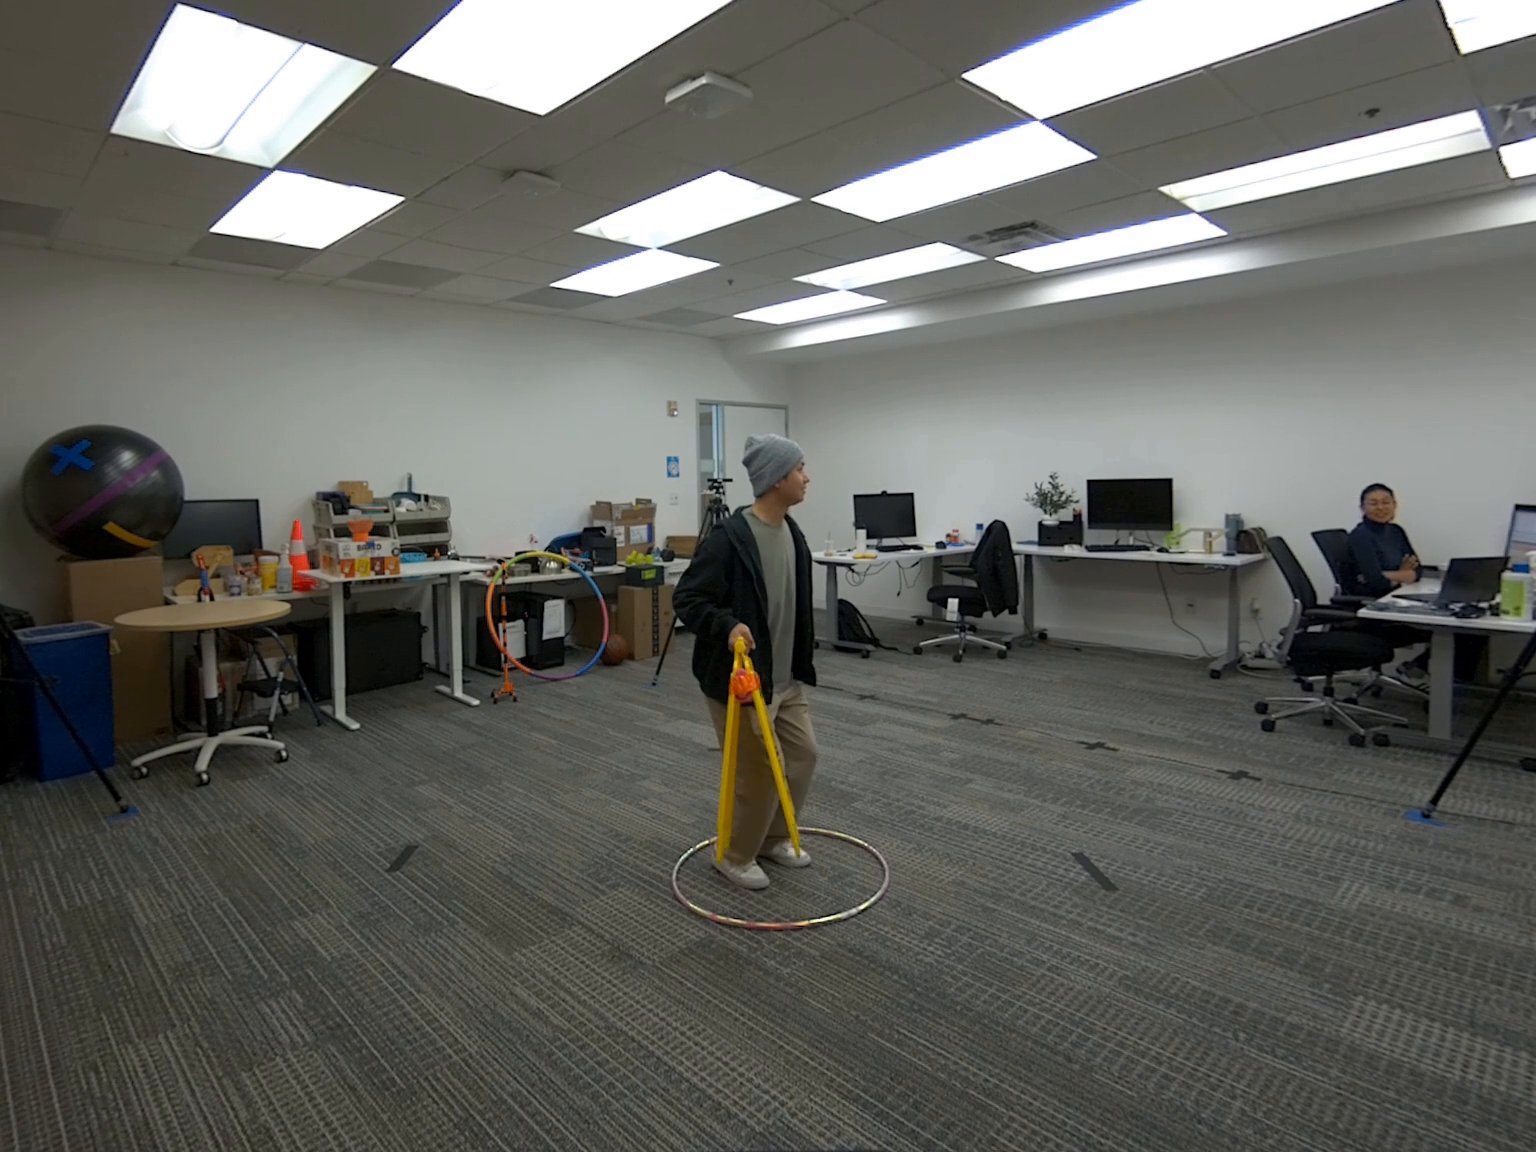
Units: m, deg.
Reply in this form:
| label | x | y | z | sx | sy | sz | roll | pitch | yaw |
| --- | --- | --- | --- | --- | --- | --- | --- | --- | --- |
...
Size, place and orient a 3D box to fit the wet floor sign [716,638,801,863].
| label | x | y | z | sx | sy | sz | roll | pitch | yaw |
| --- | --- | --- | --- | --- | --- | --- | --- | --- | --- |
| wet floor sign | -0.054 | 0.511 | 2.664 | 0.290 | 0.650 | 0.280 | -5 | -5 | 1 |
